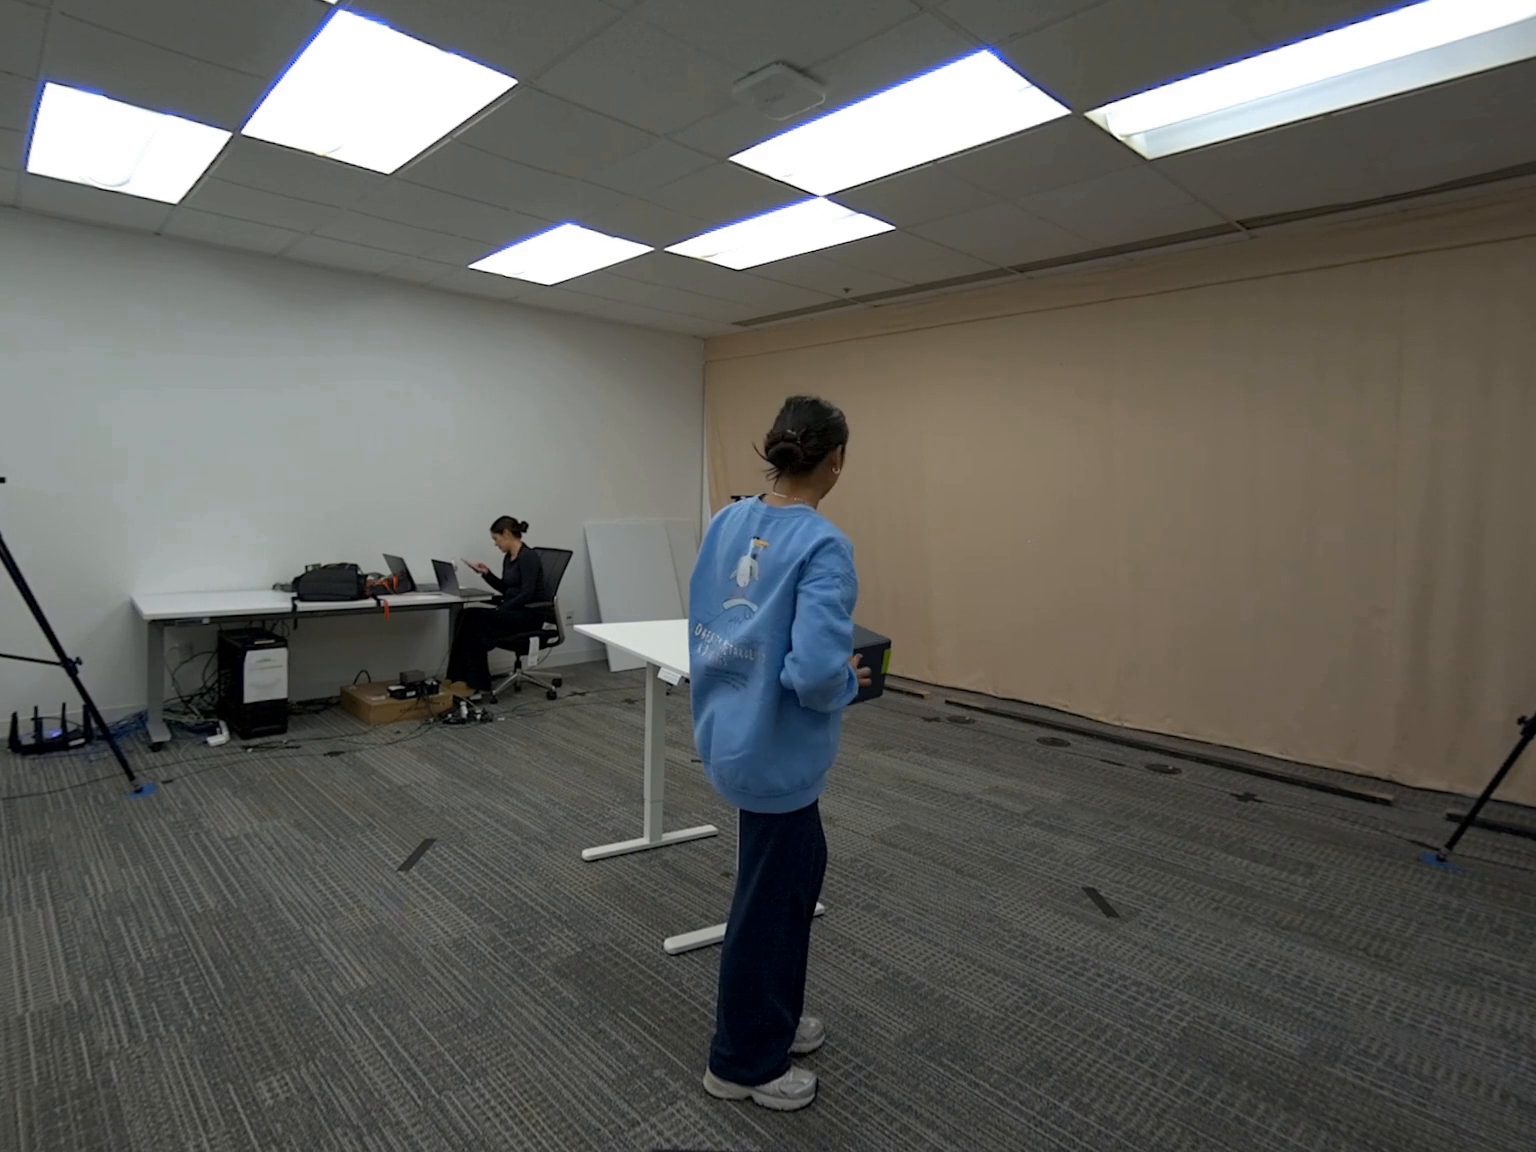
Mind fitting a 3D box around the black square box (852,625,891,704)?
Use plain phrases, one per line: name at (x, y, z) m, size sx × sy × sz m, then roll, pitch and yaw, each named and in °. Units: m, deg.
black square box at (0.159, 0.217, 2.133) m, size 0.212 × 0.155 × 0.235 m, roll -5°, pitch 18°, yaw -44°
